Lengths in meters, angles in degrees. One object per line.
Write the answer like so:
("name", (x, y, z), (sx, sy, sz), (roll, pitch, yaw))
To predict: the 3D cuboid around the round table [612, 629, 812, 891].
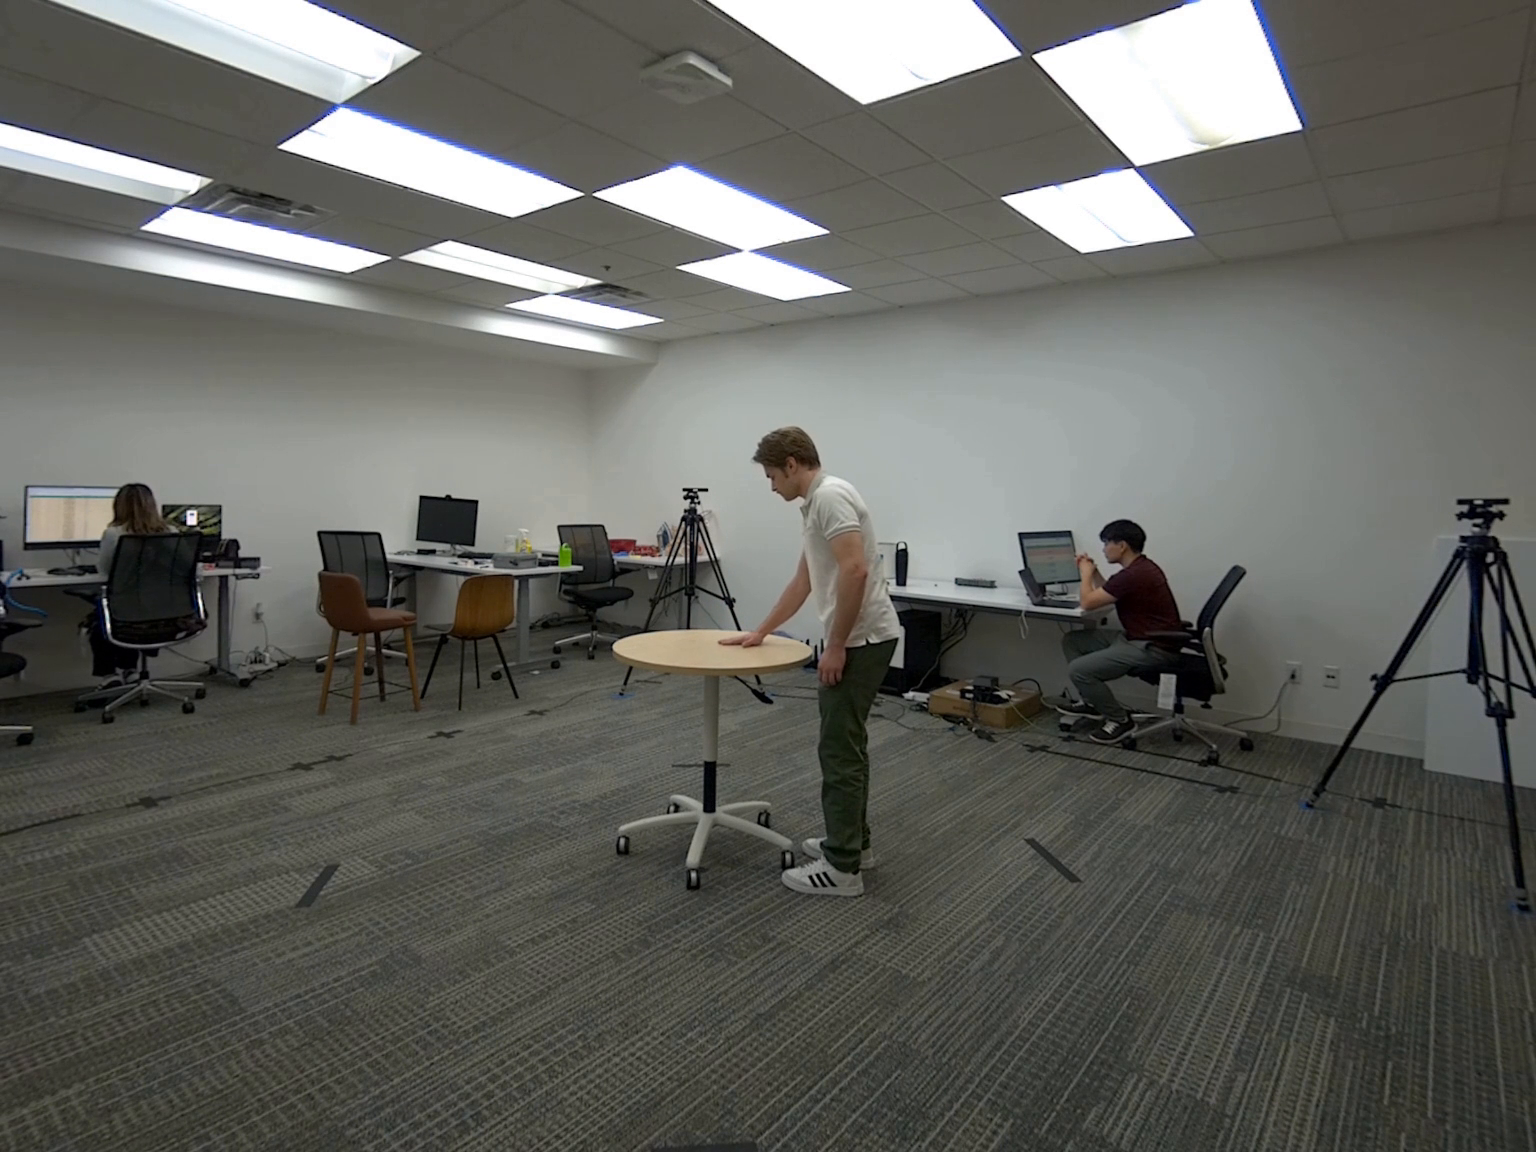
("round table", (-0.240, 0.655, 3.304), (0.784, 0.784, 0.789), (1, 5, -2))
